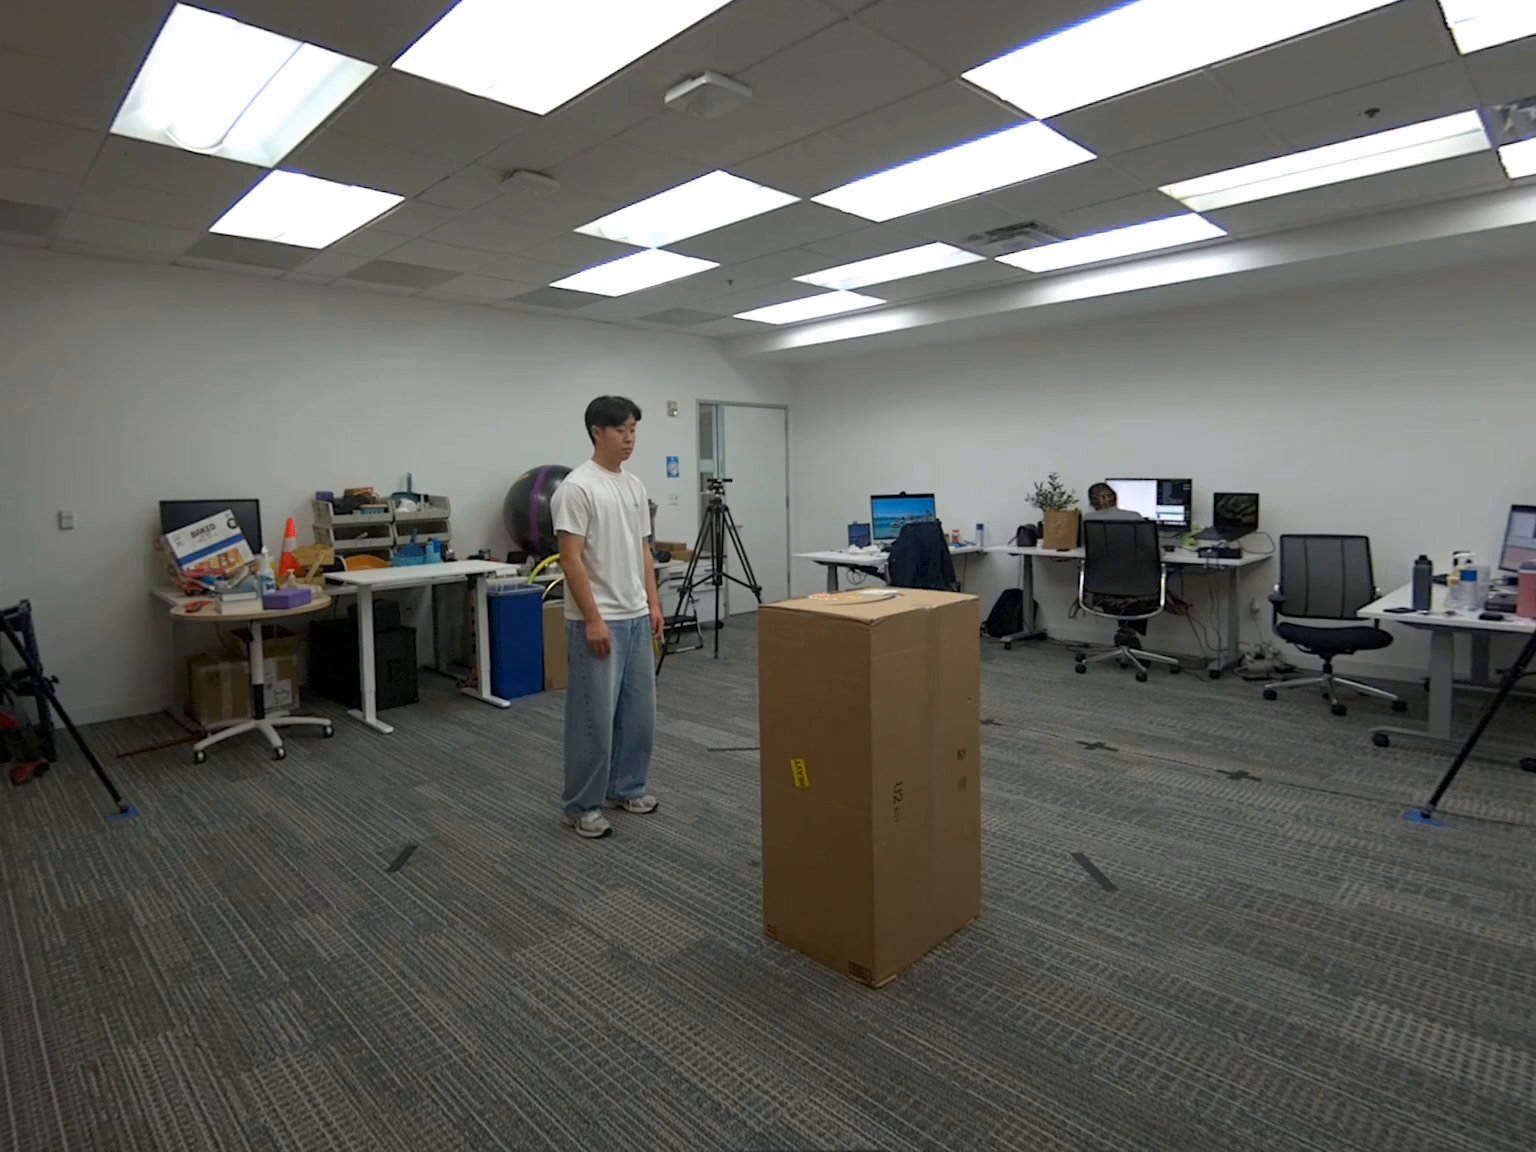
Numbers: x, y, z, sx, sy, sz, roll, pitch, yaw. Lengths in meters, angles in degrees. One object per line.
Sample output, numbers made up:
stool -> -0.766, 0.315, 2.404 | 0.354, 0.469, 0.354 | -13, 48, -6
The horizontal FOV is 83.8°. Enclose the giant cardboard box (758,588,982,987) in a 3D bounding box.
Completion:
giant cardboard box -> 0.327, 0.584, 2.644 | 0.439, 1.022, 0.562 | 2, 5, 45
